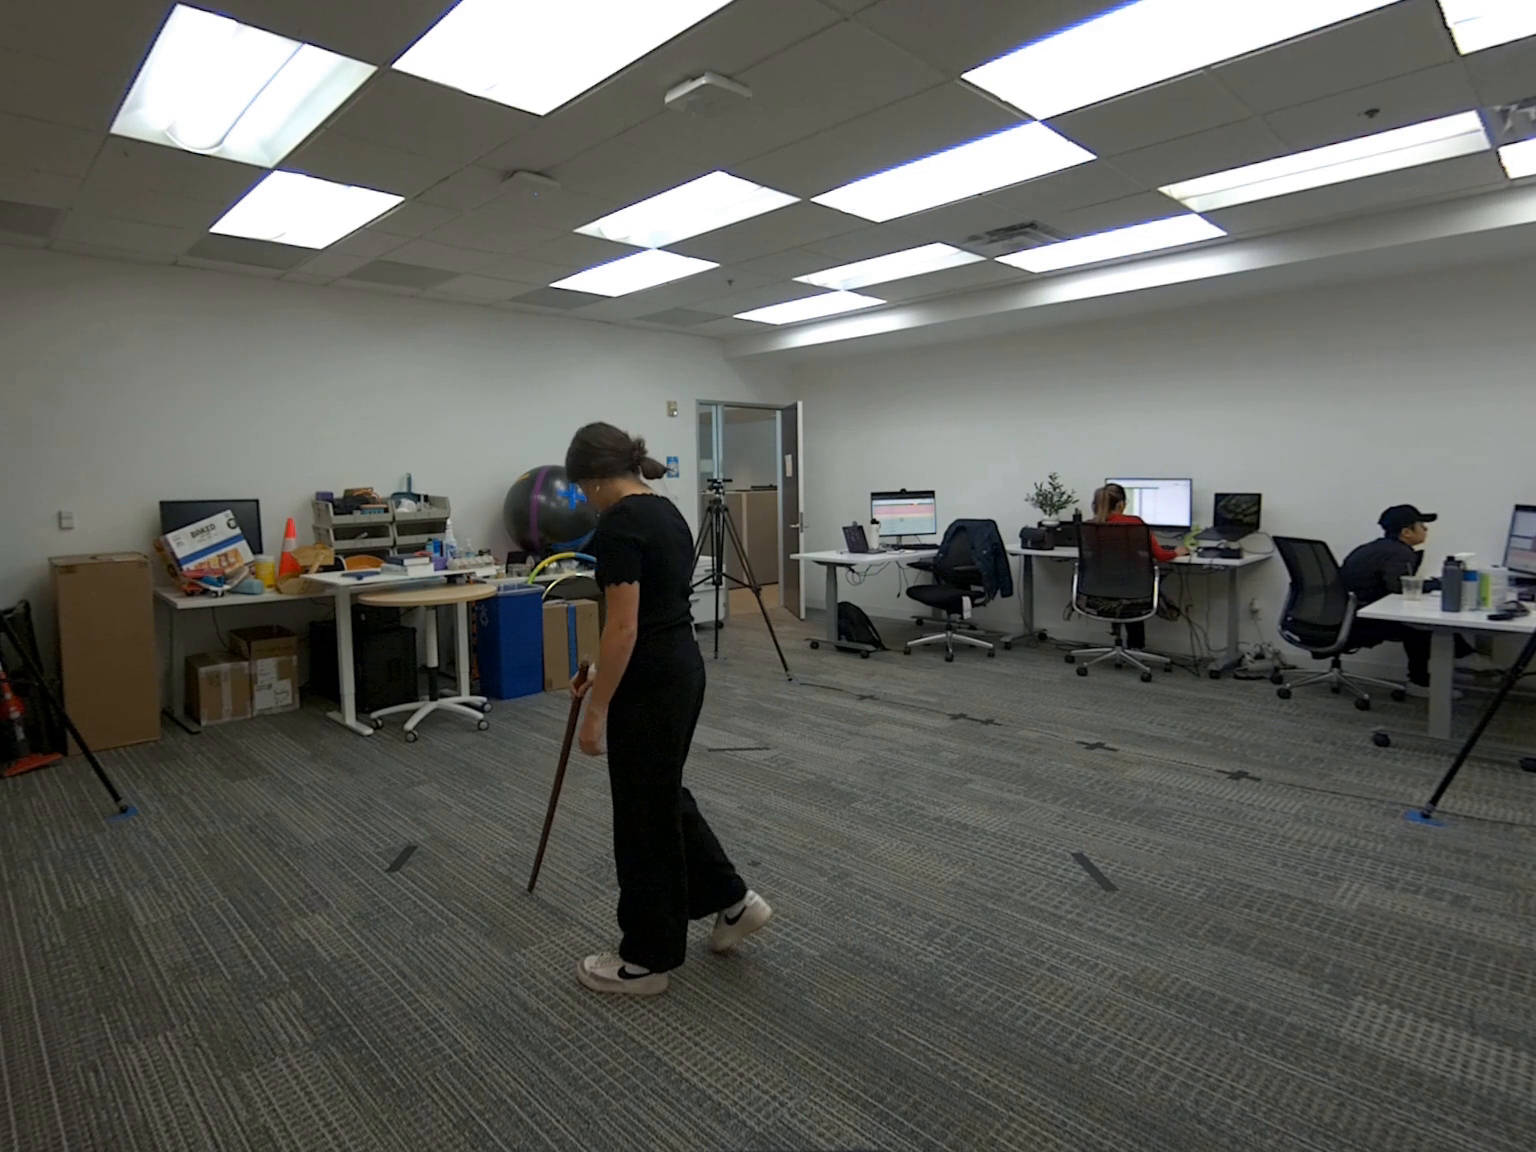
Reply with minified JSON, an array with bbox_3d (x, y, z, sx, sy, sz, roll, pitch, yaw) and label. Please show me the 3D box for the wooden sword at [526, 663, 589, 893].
[{"bbox_3d":[-0.672,0.684,2.684,0.023,1.010,0.053,-6,38,-37],"label":"wooden sword"}]
